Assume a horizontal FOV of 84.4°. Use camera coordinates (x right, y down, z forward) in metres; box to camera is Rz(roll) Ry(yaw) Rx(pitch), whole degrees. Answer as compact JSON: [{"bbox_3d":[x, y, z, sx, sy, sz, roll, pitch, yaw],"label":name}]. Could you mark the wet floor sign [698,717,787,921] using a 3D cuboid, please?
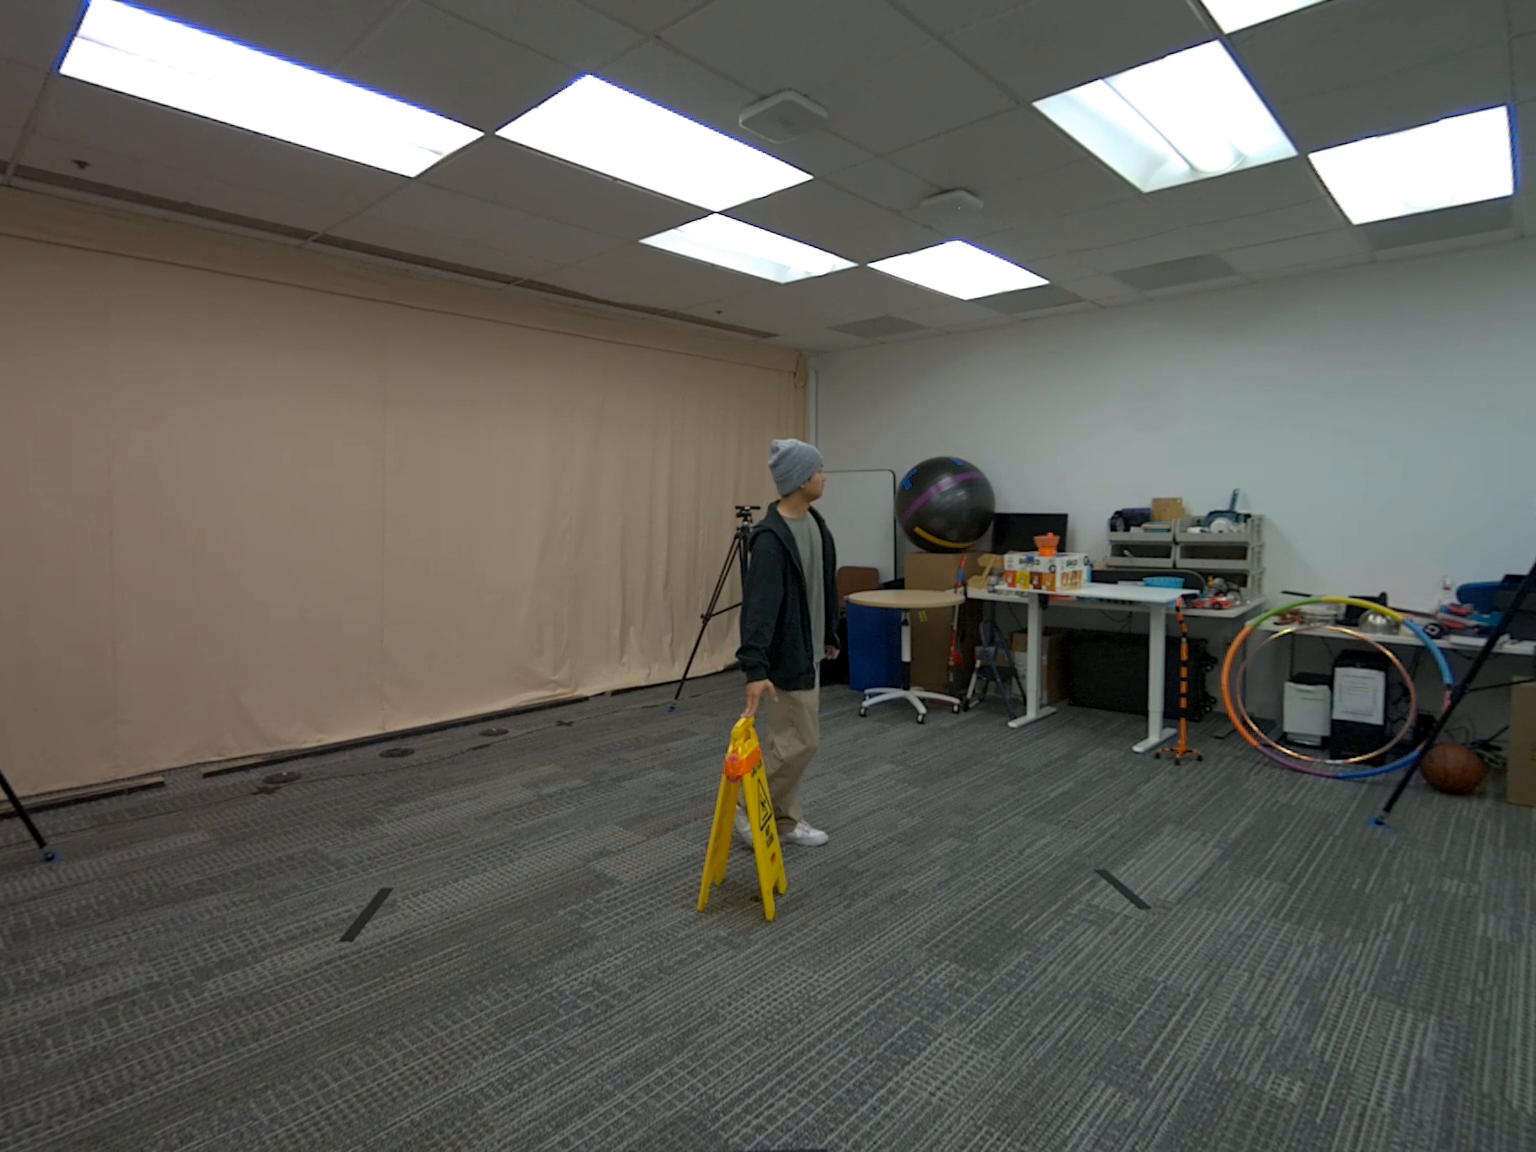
[{"bbox_3d":[-0.088,0.821,2.968,0.294,0.645,0.278,0,1,14],"label":"wet floor sign"}]
